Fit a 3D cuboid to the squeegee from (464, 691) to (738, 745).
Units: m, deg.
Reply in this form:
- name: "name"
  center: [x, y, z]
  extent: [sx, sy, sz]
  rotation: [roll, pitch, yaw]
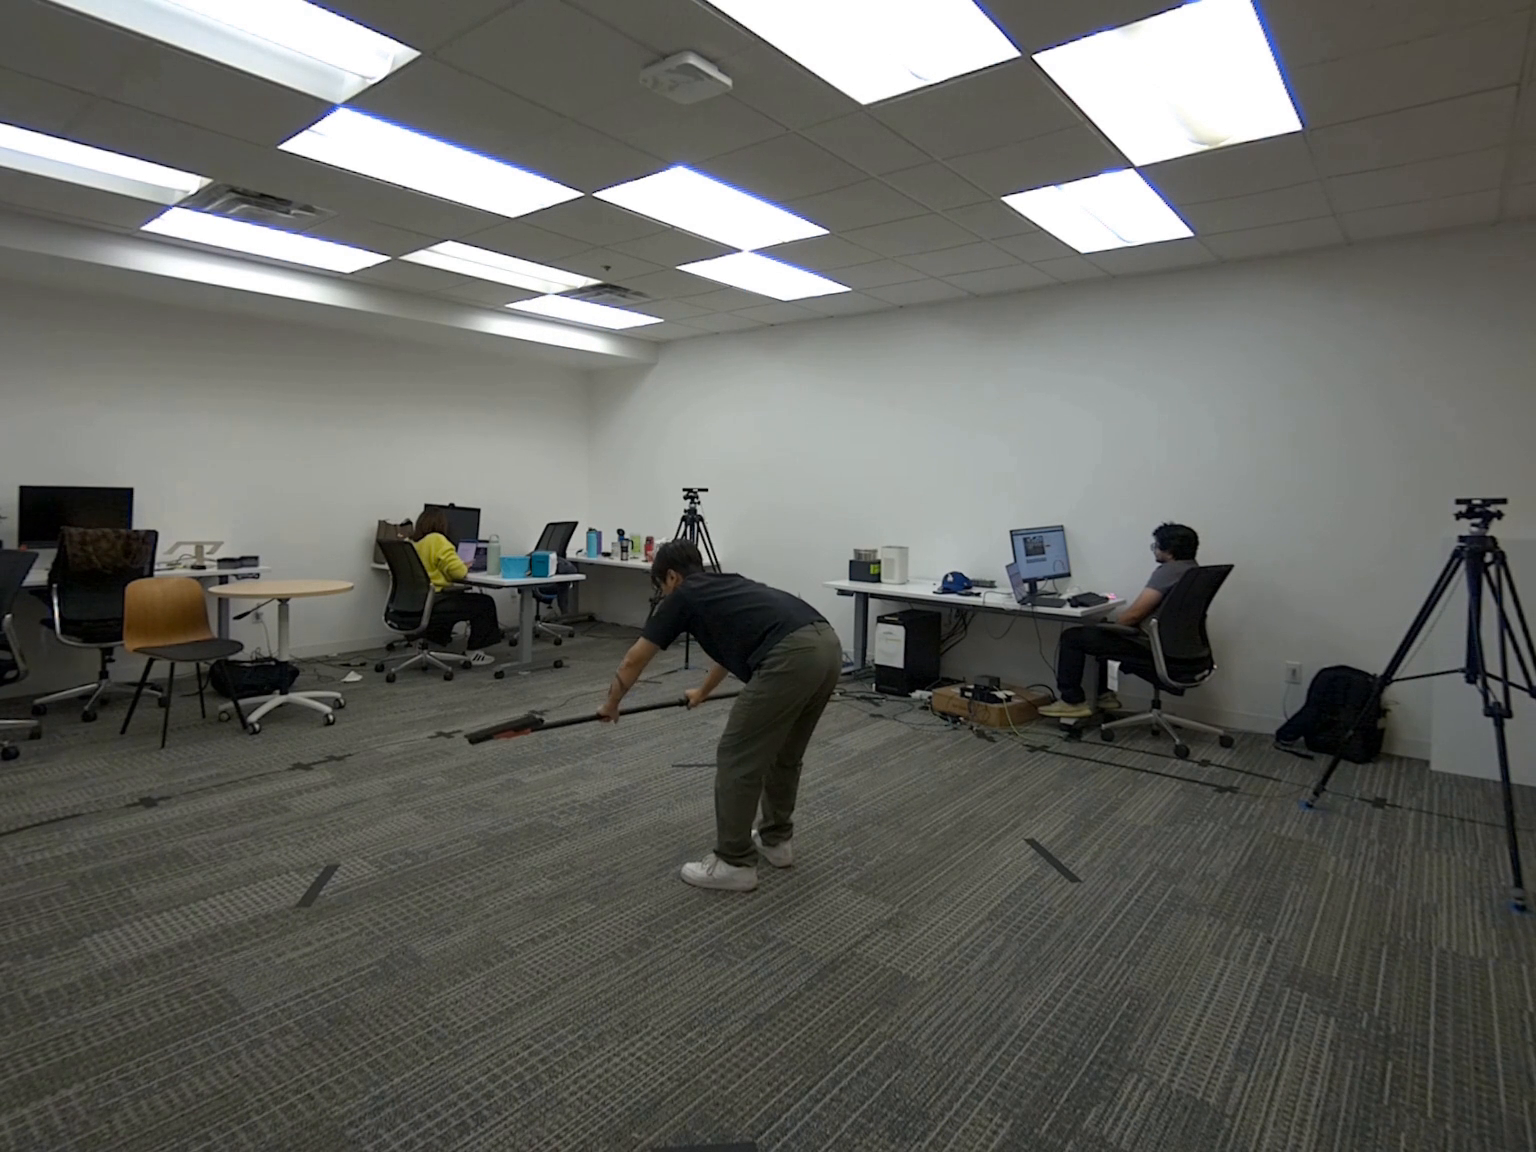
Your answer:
- name: "squeegee"
  center: [-0.459, 0.530, 3.481]
  extent: [0.446, 0.054, 1.488]
  rotation: [-20, -13, 39]
